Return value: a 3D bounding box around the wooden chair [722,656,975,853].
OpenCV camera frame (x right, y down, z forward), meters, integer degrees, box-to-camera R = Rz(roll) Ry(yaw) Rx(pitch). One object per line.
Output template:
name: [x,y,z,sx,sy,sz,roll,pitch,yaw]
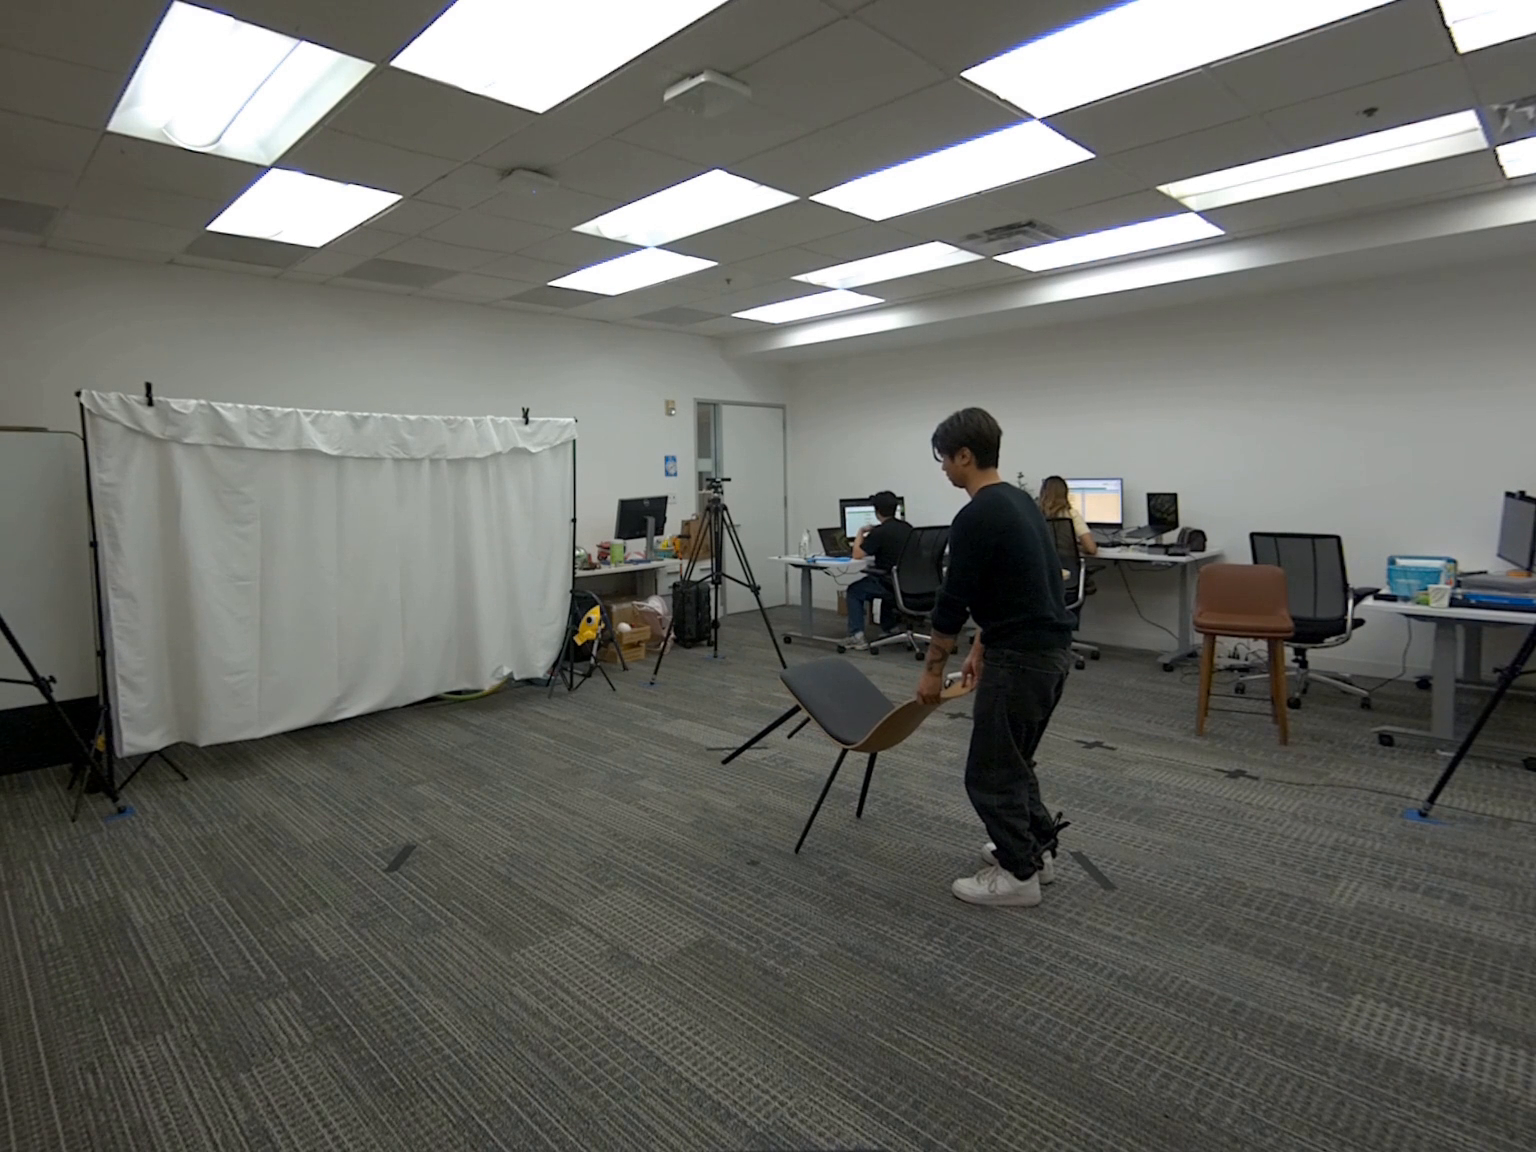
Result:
wooden chair: [0.284,0.536,3.266,0.466,0.873,0.540,-6,49,-50]
